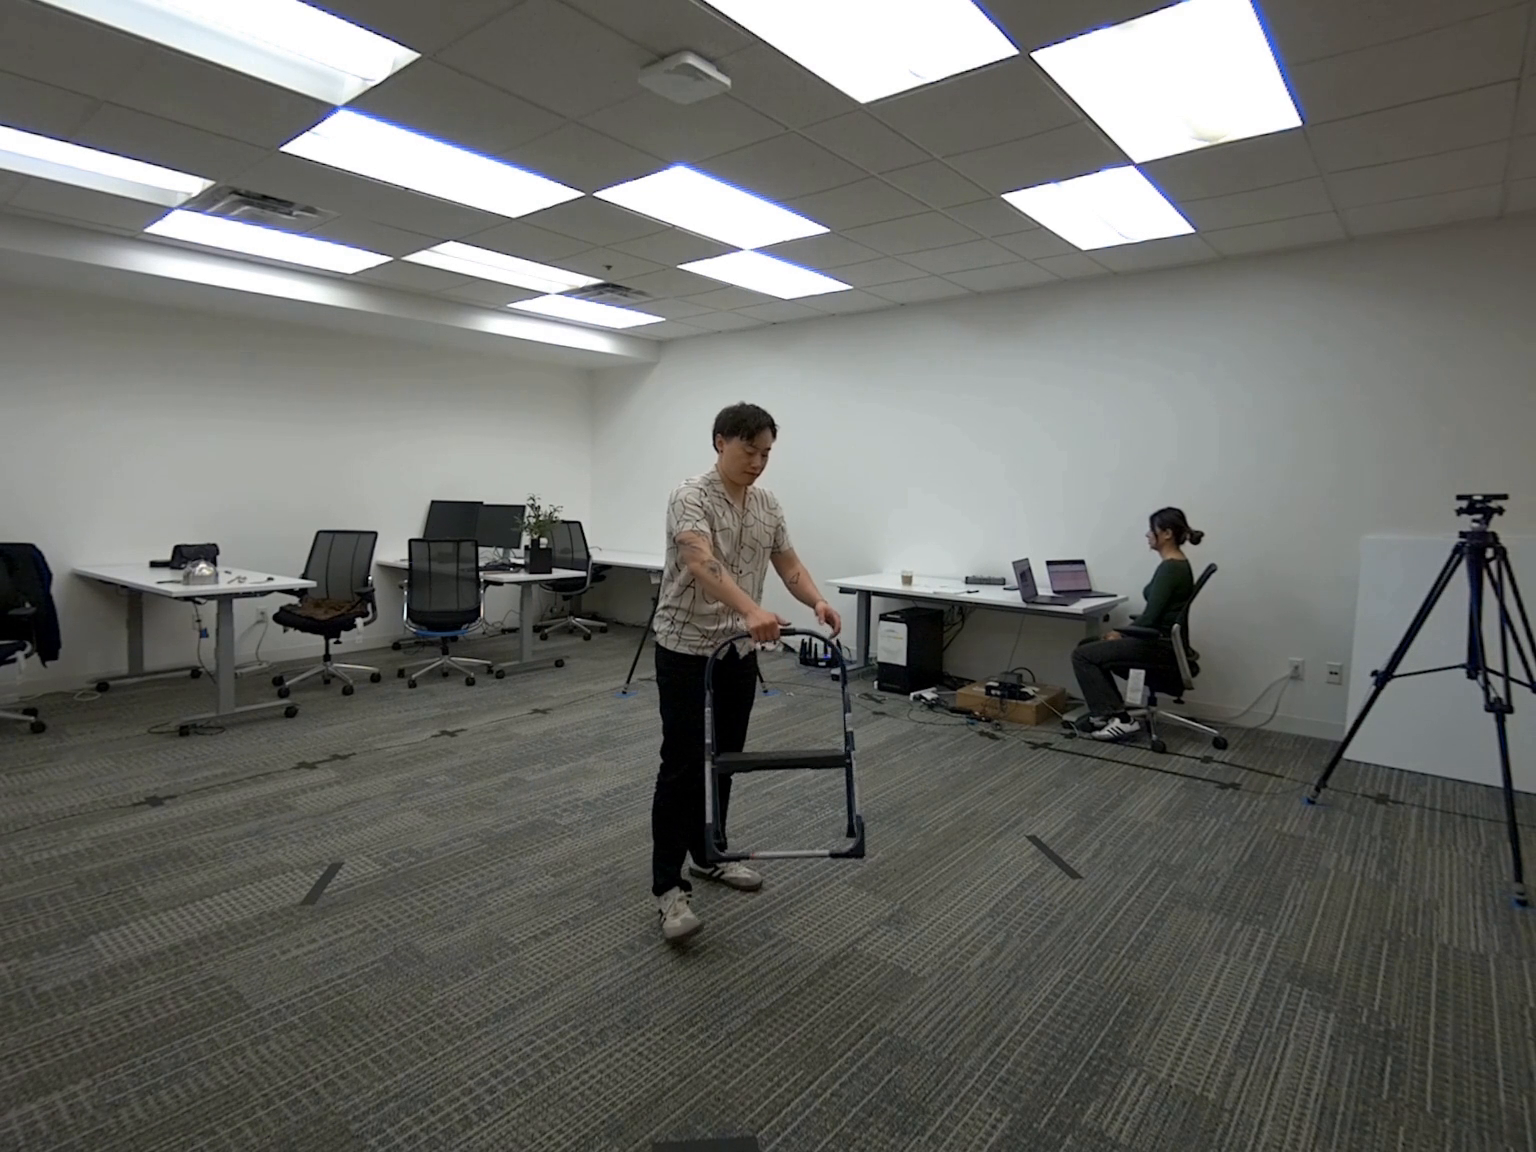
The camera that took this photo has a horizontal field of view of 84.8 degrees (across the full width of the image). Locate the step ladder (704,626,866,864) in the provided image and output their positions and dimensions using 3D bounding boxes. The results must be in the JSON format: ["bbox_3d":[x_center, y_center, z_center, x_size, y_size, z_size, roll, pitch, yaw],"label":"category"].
[{"bbox_3d":[0.025,0.471,2.425,0.432,0.613,0.344,-3,-10,2],"label":"step ladder"}]
